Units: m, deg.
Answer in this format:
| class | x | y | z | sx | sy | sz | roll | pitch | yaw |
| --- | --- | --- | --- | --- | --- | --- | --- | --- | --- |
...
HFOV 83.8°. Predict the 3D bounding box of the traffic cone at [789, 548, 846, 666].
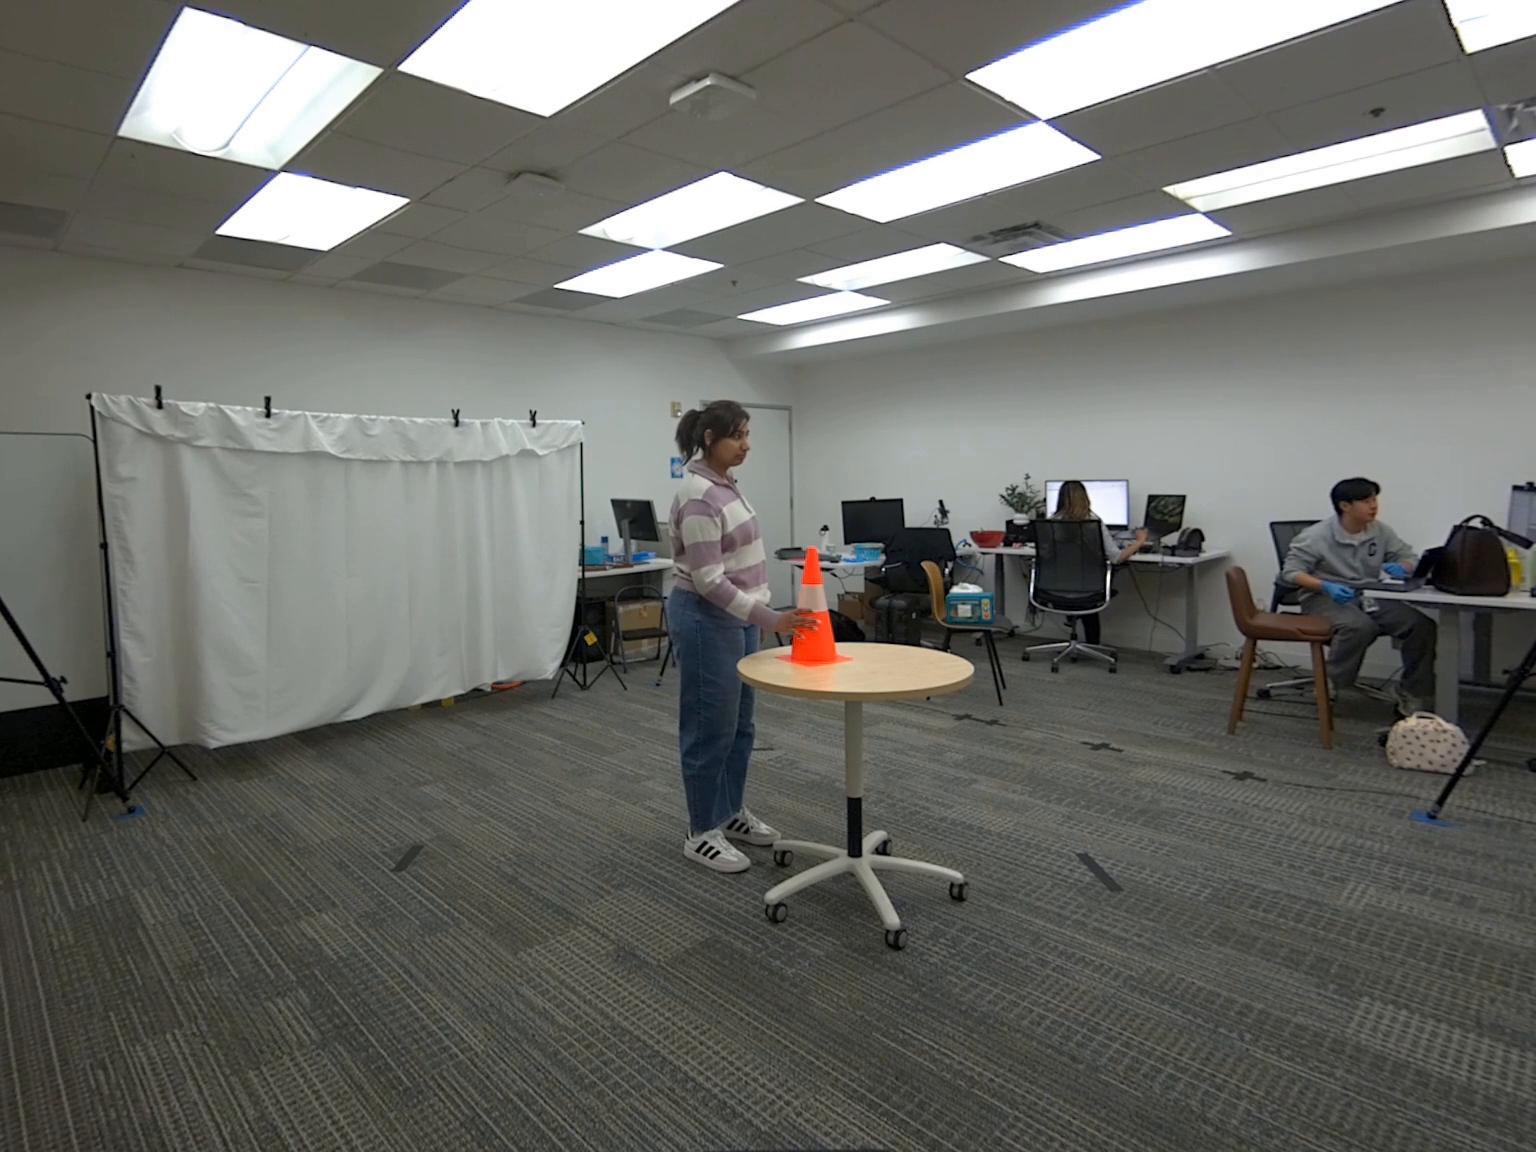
| class | x | y | z | sx | sy | sz | roll | pitch | yaw |
| --- | --- | --- | --- | --- | --- | --- | --- | --- | --- |
| traffic cone | 0.164 | 0.100 | 2.897 | 0.211 | 0.382 | 0.198 | 1 | 4 | 39 |
